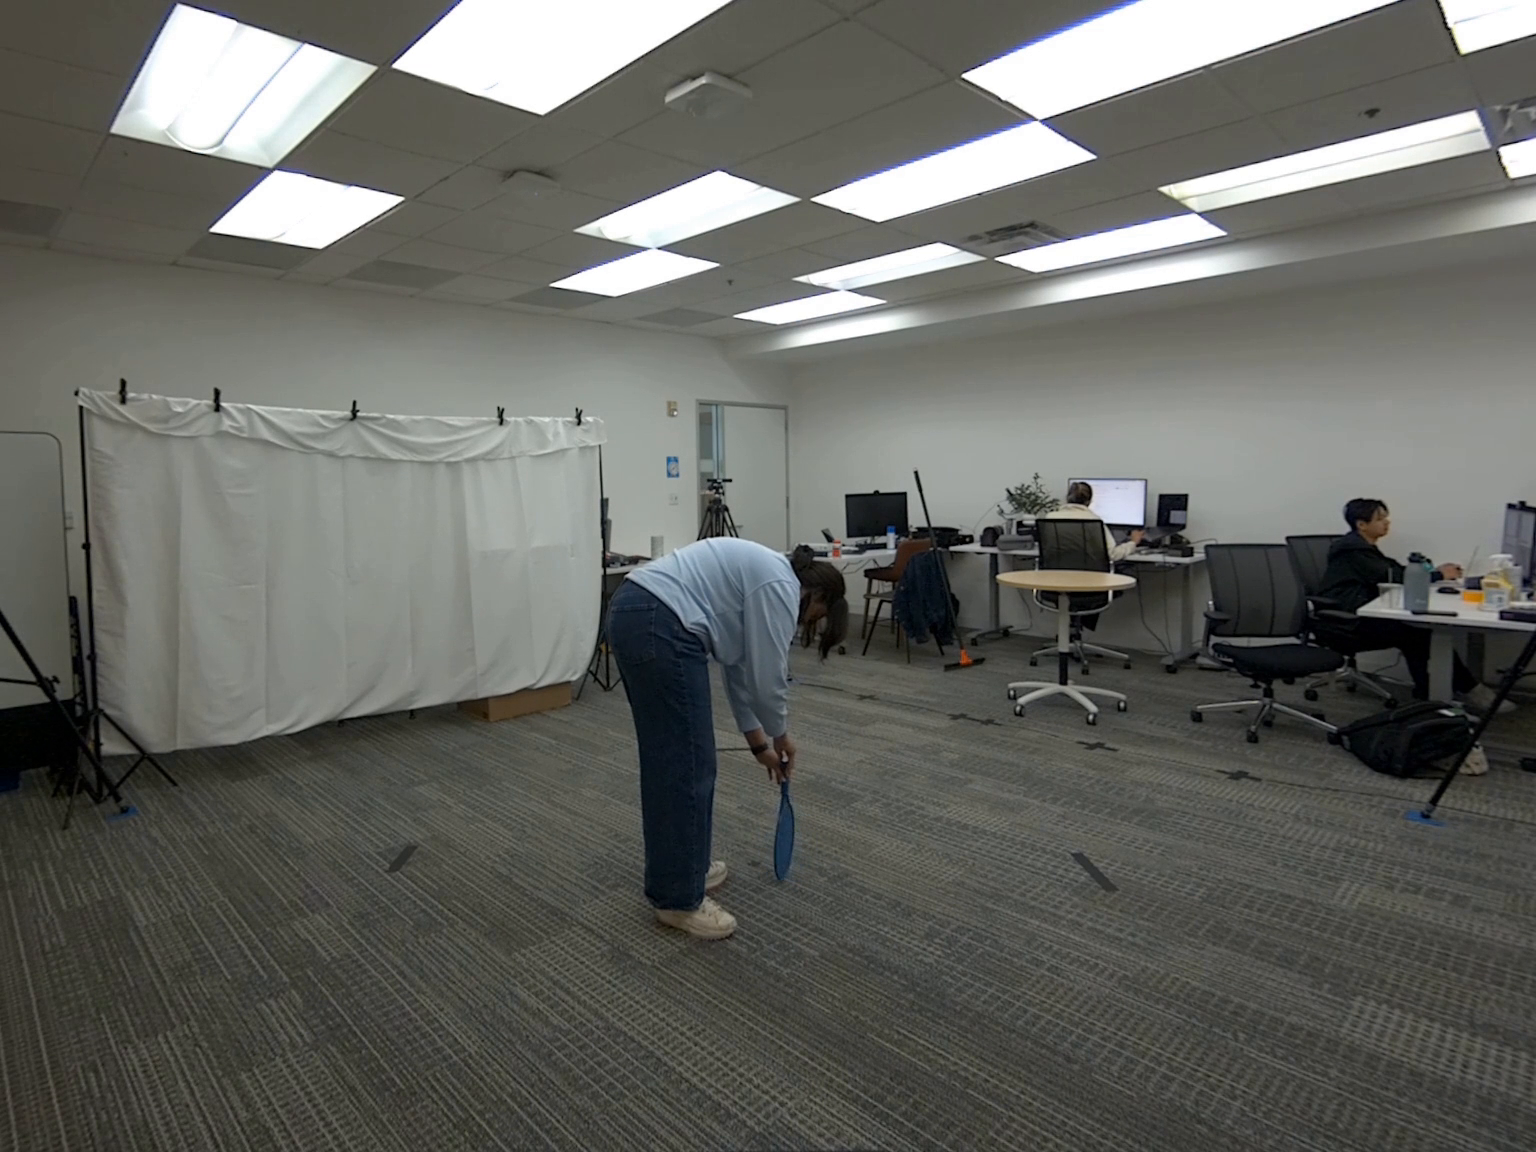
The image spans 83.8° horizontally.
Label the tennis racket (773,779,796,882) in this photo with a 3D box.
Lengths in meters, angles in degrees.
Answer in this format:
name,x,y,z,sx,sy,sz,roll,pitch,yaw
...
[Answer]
name,x,y,z,sx,sy,sz,roll,pitch,yaw
tennis racket,0.062,0.845,2.966,0.032,0.430,0.211,5,8,18
